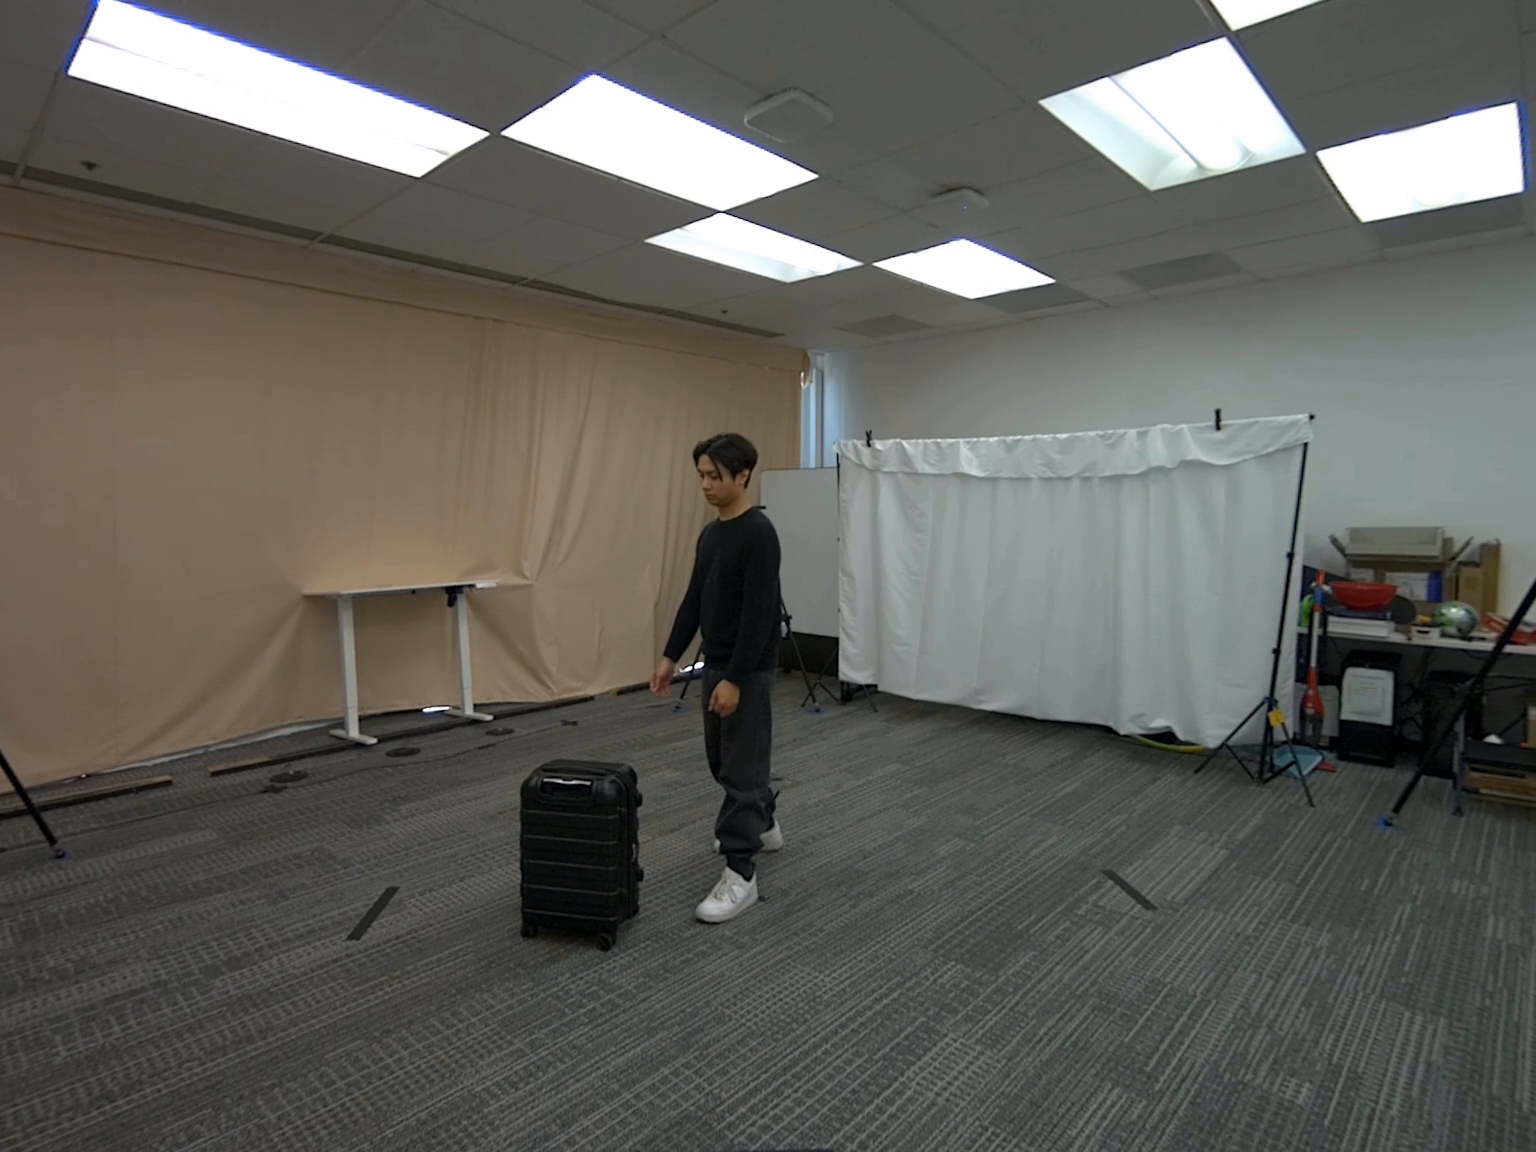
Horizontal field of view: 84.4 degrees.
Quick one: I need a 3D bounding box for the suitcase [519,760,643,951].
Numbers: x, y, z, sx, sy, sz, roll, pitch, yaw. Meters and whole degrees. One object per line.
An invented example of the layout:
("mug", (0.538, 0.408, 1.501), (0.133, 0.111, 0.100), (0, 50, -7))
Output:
("suitcase", (-0.624, 0.890, 2.764), (0.380, 0.548, 0.245), (0, 2, 12))
